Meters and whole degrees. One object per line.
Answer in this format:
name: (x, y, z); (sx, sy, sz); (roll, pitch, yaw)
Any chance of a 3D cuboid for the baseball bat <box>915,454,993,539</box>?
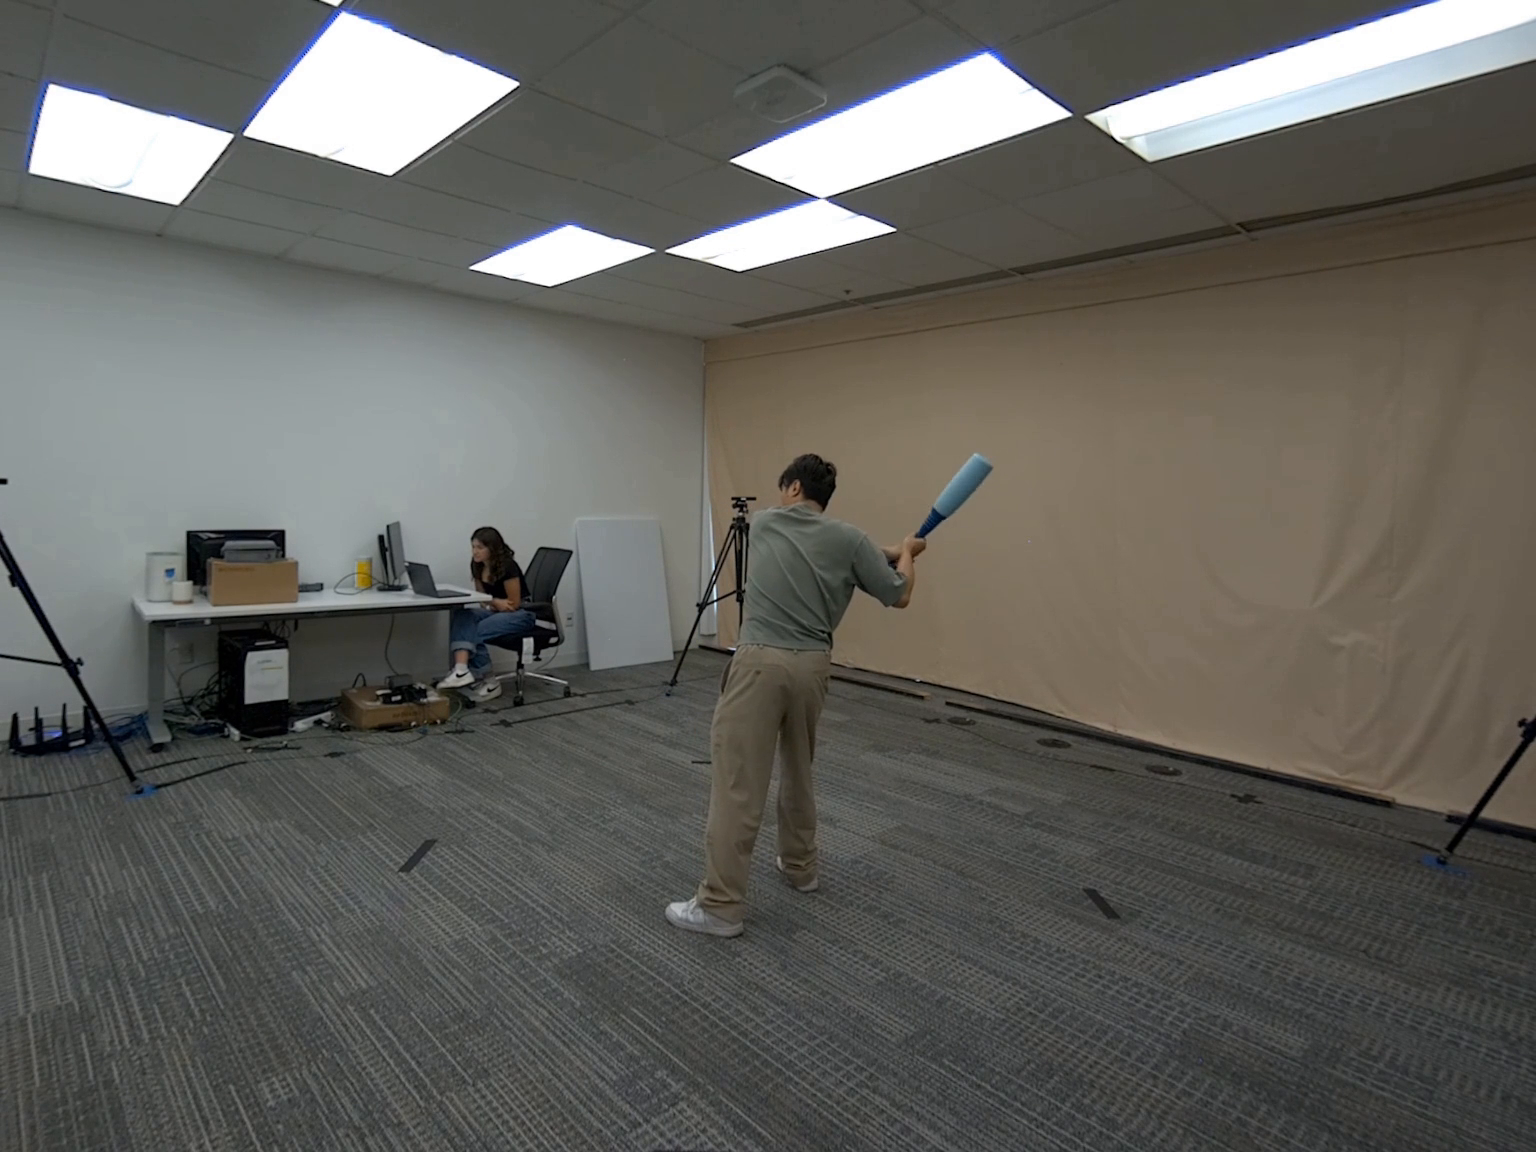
baseball bat: (0.610, -0.212, 3.099); (0.088, 0.542, 0.091); (31, 22, -16)
